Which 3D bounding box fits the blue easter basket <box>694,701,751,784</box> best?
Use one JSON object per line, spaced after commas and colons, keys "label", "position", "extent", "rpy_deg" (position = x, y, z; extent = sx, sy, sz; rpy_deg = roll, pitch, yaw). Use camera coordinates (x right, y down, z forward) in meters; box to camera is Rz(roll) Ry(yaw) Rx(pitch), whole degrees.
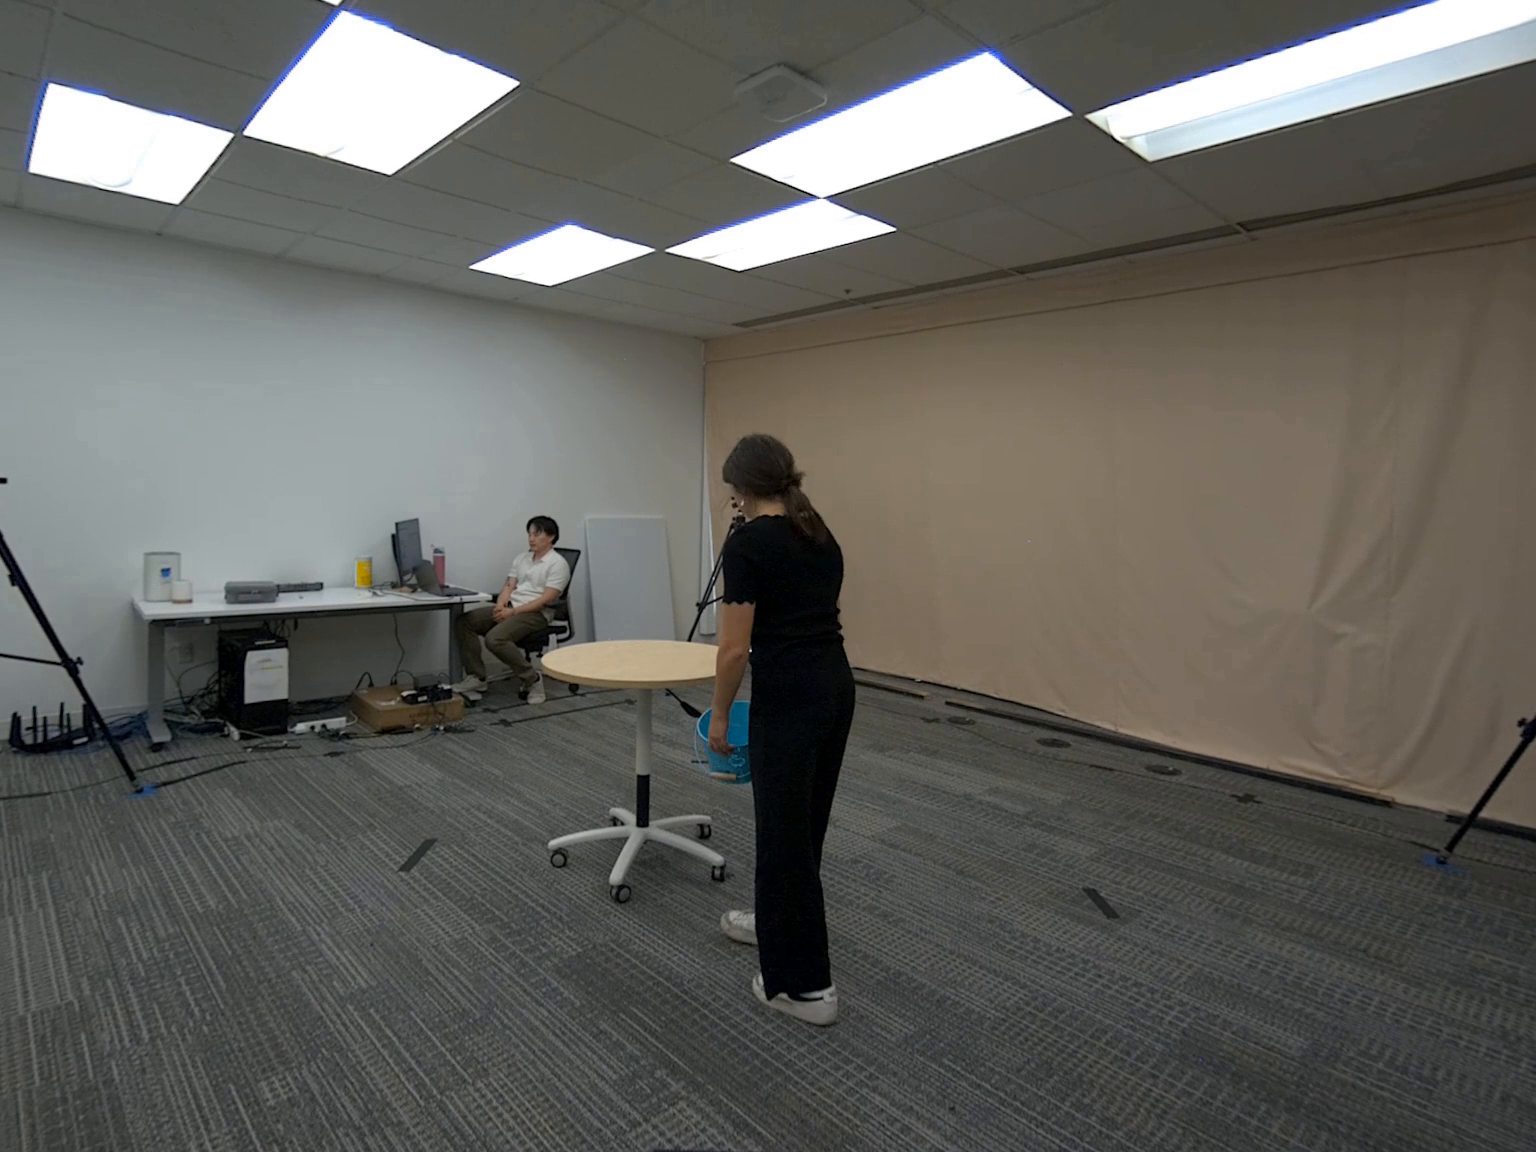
{"label": "blue easter basket", "position": [-0.080, 0.502, 2.509], "extent": [0.244, 0.153, 0.247], "rpy_deg": [-5, 24, 1]}
